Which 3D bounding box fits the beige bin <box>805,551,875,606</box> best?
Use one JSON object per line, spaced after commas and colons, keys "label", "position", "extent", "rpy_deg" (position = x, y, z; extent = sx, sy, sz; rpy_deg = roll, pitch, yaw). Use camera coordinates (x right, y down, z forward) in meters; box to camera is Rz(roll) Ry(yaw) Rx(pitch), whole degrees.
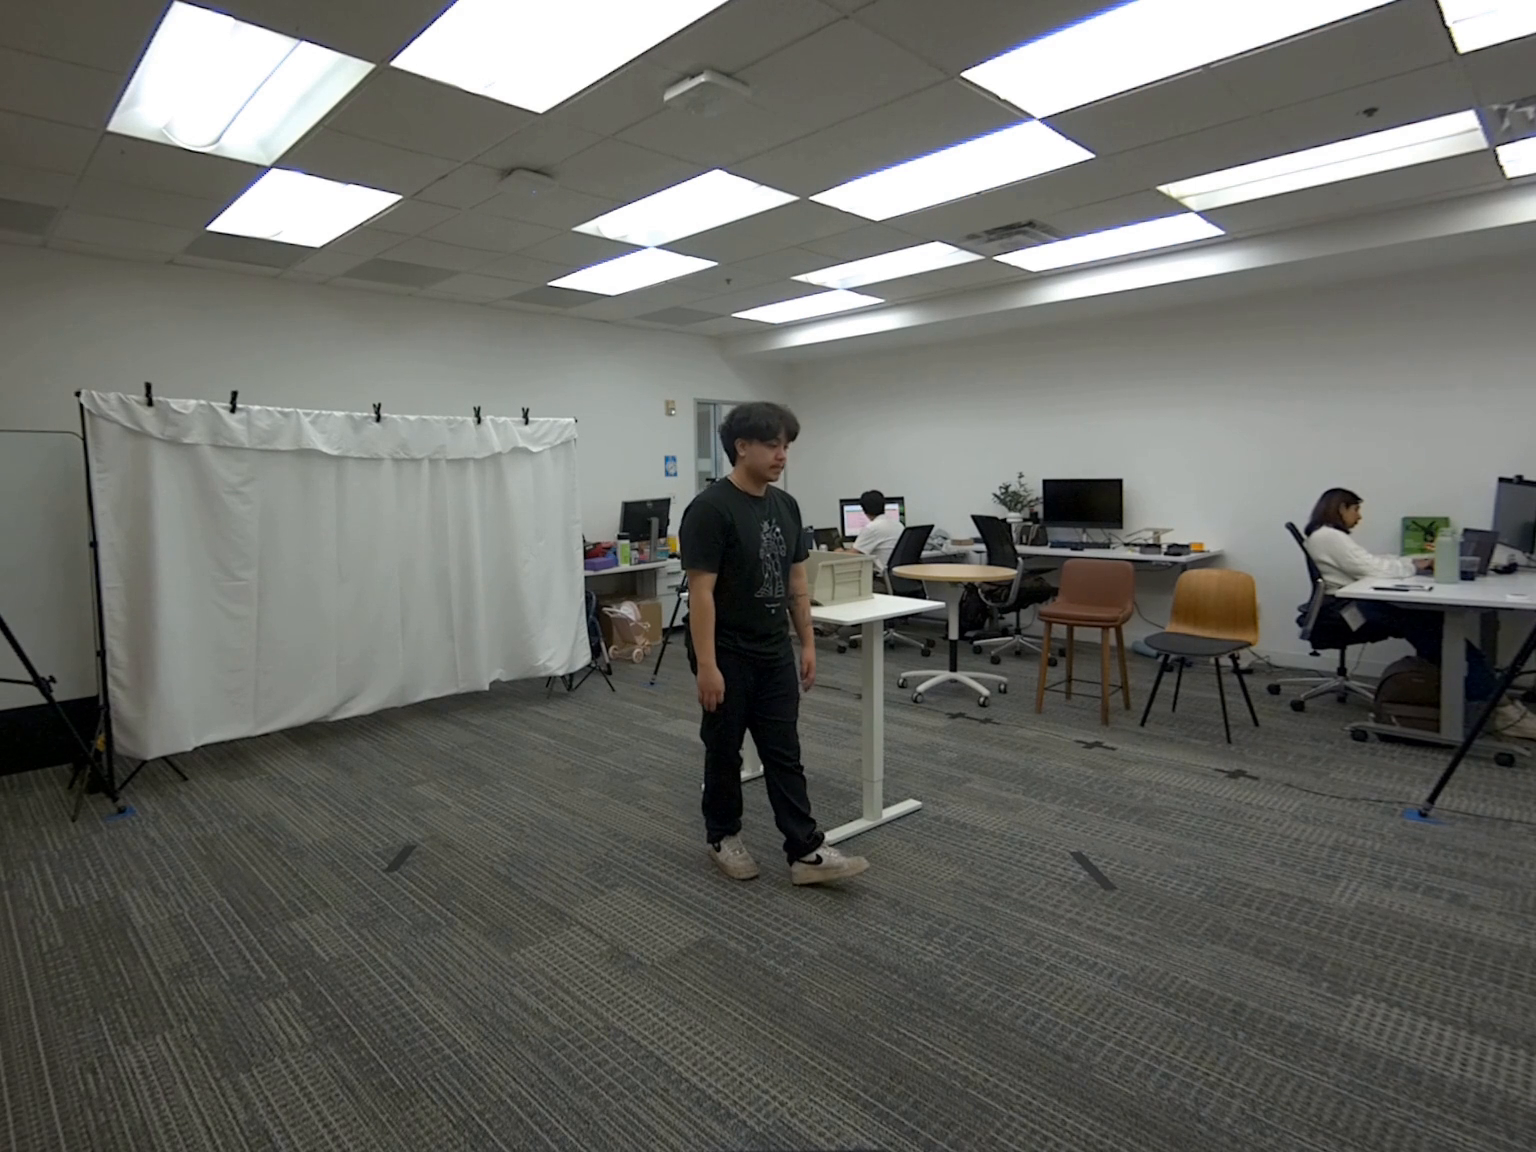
{"label": "beige bin", "position": [0.186, 0.006, 3.649], "extent": [0.367, 0.188, 0.435], "rpy_deg": [-6, 8, -40]}
